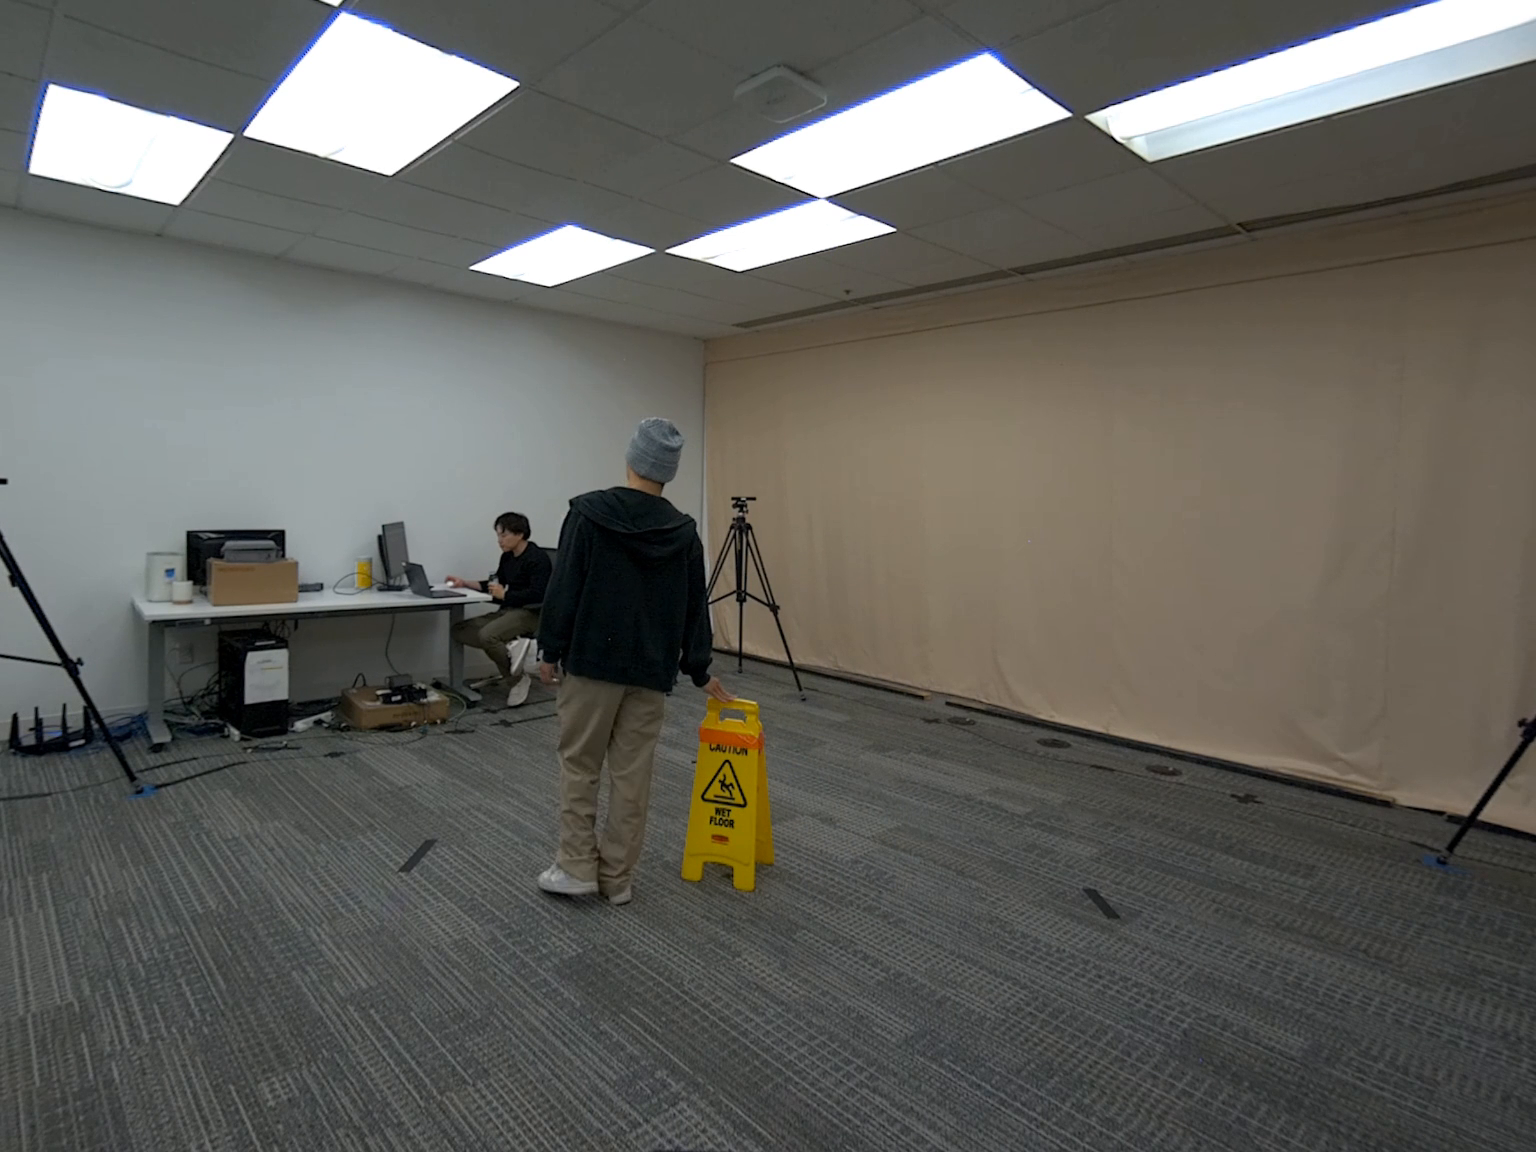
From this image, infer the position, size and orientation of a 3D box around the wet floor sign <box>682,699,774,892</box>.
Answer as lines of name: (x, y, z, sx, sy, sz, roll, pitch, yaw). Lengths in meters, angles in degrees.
wet floor sign: (-0.146, 0.779, 3.137, 0.287, 0.645, 0.285, 3, 3, 19)
